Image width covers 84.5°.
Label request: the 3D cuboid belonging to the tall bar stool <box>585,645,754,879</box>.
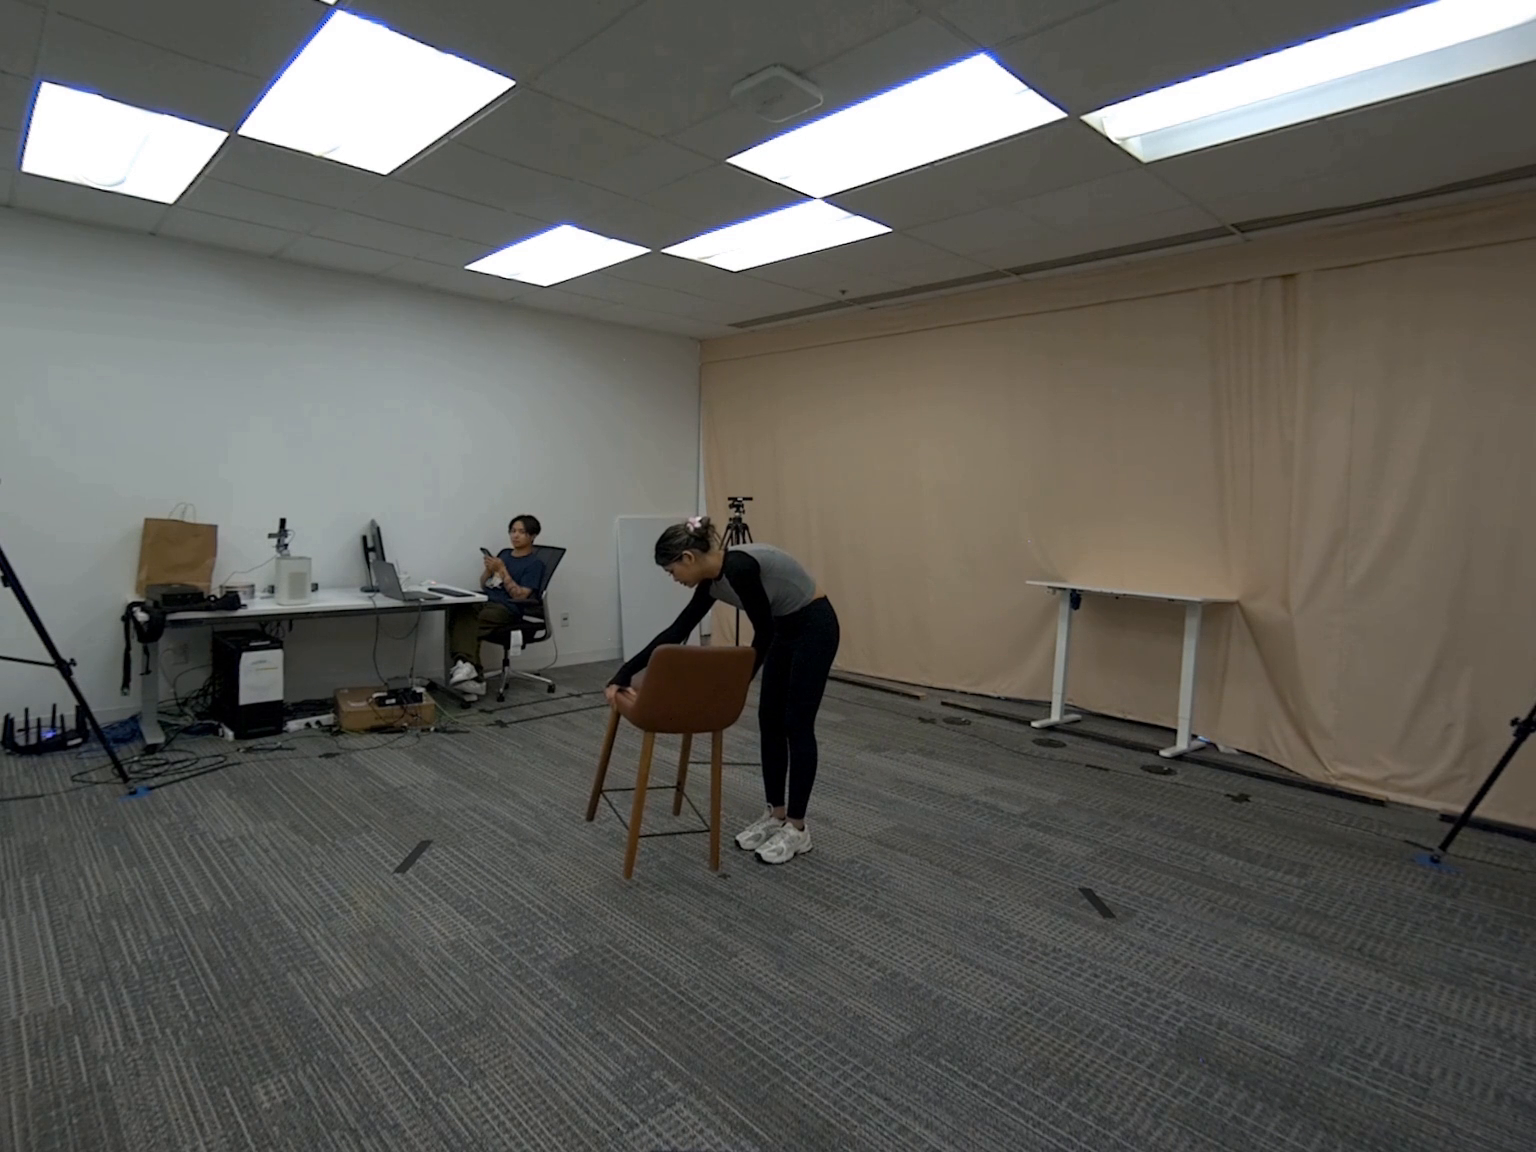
[{"bbox_3d":[-0.387,0.624,3.200,0.447,0.885,0.480,5,11,-29],"label":"tall bar stool"}]
